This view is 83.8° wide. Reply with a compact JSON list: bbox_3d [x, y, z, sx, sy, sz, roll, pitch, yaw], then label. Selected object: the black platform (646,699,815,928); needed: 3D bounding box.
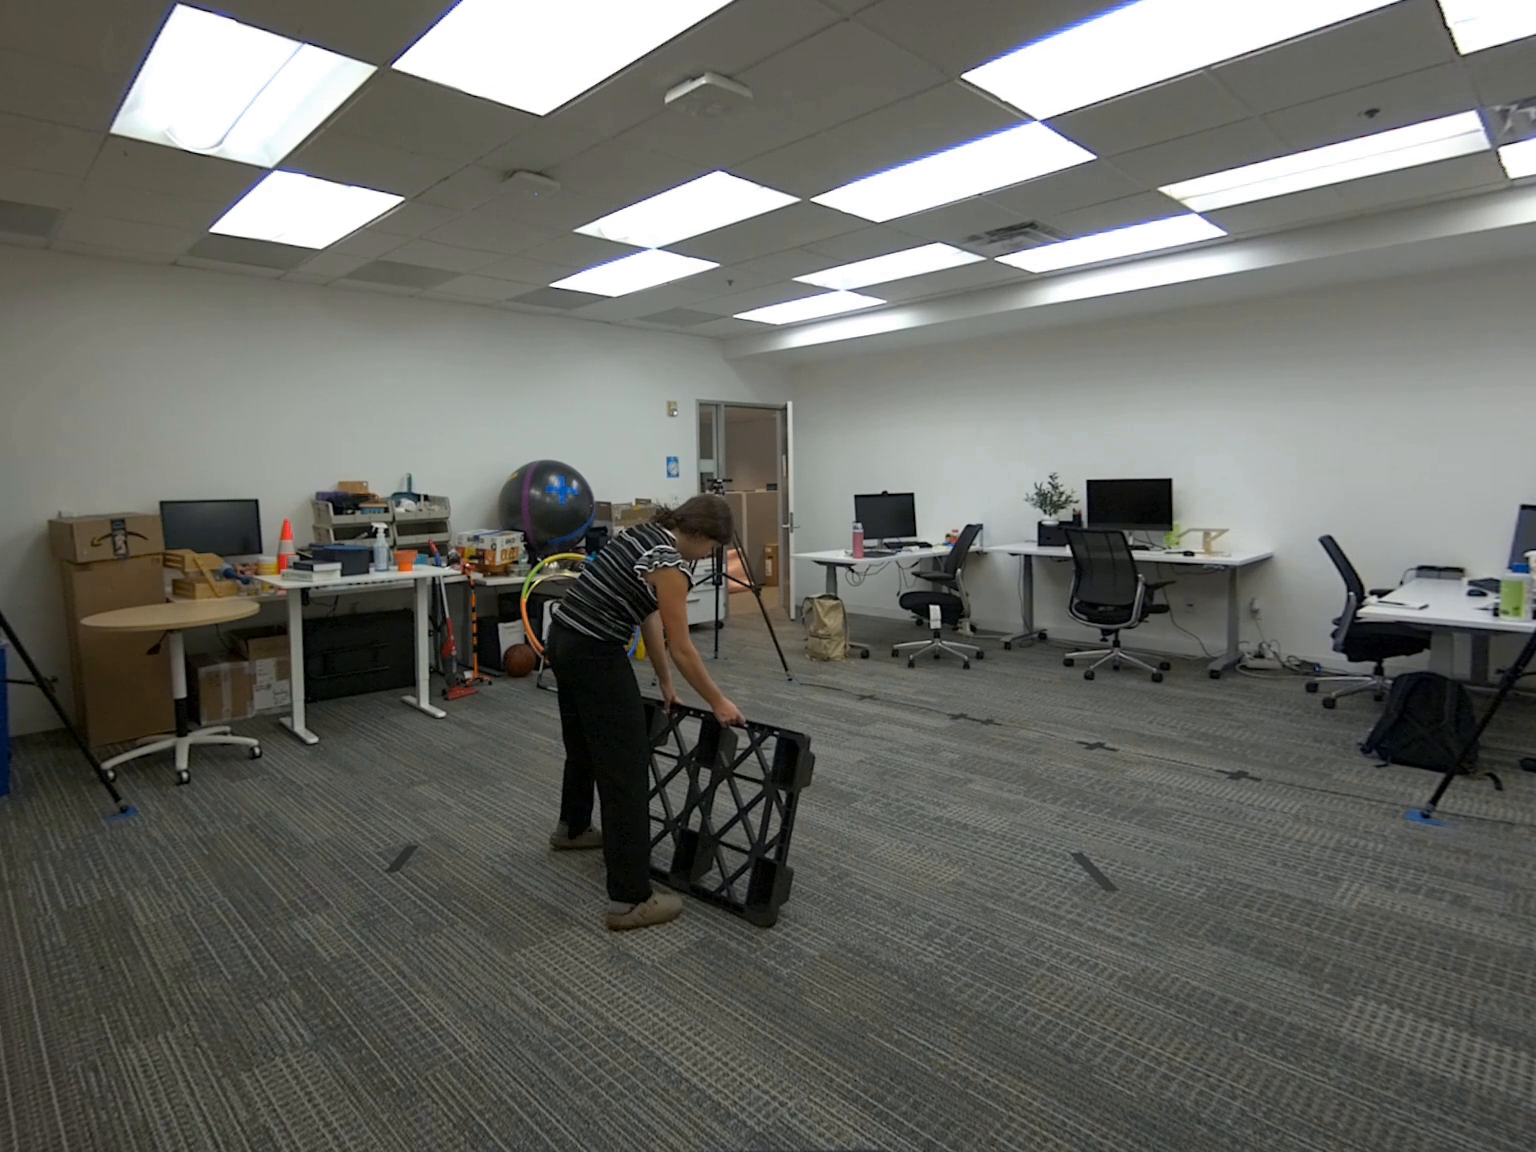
[{"bbox_3d":[-0.213,0.784,3.006,0.830,0.609,0.138,4,-13,40],"label":"black platform"}]
